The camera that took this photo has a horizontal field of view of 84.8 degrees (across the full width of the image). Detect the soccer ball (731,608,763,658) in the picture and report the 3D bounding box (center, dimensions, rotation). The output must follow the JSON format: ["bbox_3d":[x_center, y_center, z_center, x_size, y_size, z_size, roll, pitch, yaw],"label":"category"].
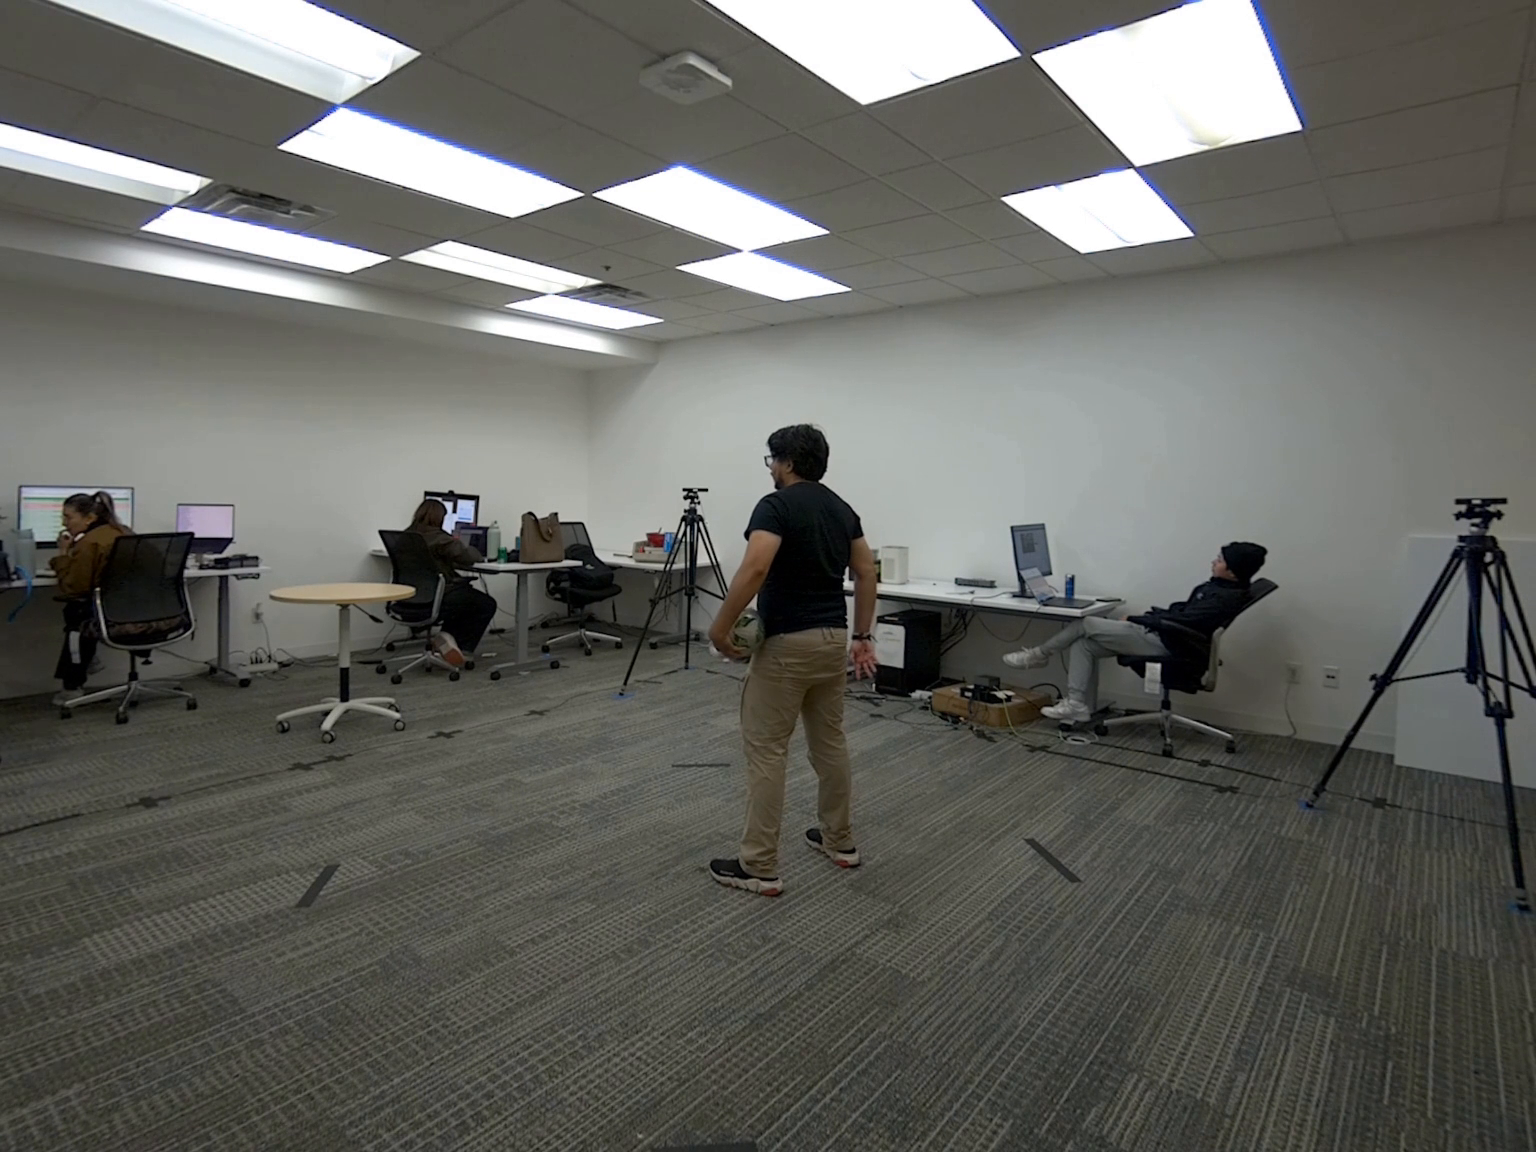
[{"bbox_3d":[-0.109,0.192,3.022,0.187,0.187,0.188,1,4,-2],"label":"soccer ball"}]
